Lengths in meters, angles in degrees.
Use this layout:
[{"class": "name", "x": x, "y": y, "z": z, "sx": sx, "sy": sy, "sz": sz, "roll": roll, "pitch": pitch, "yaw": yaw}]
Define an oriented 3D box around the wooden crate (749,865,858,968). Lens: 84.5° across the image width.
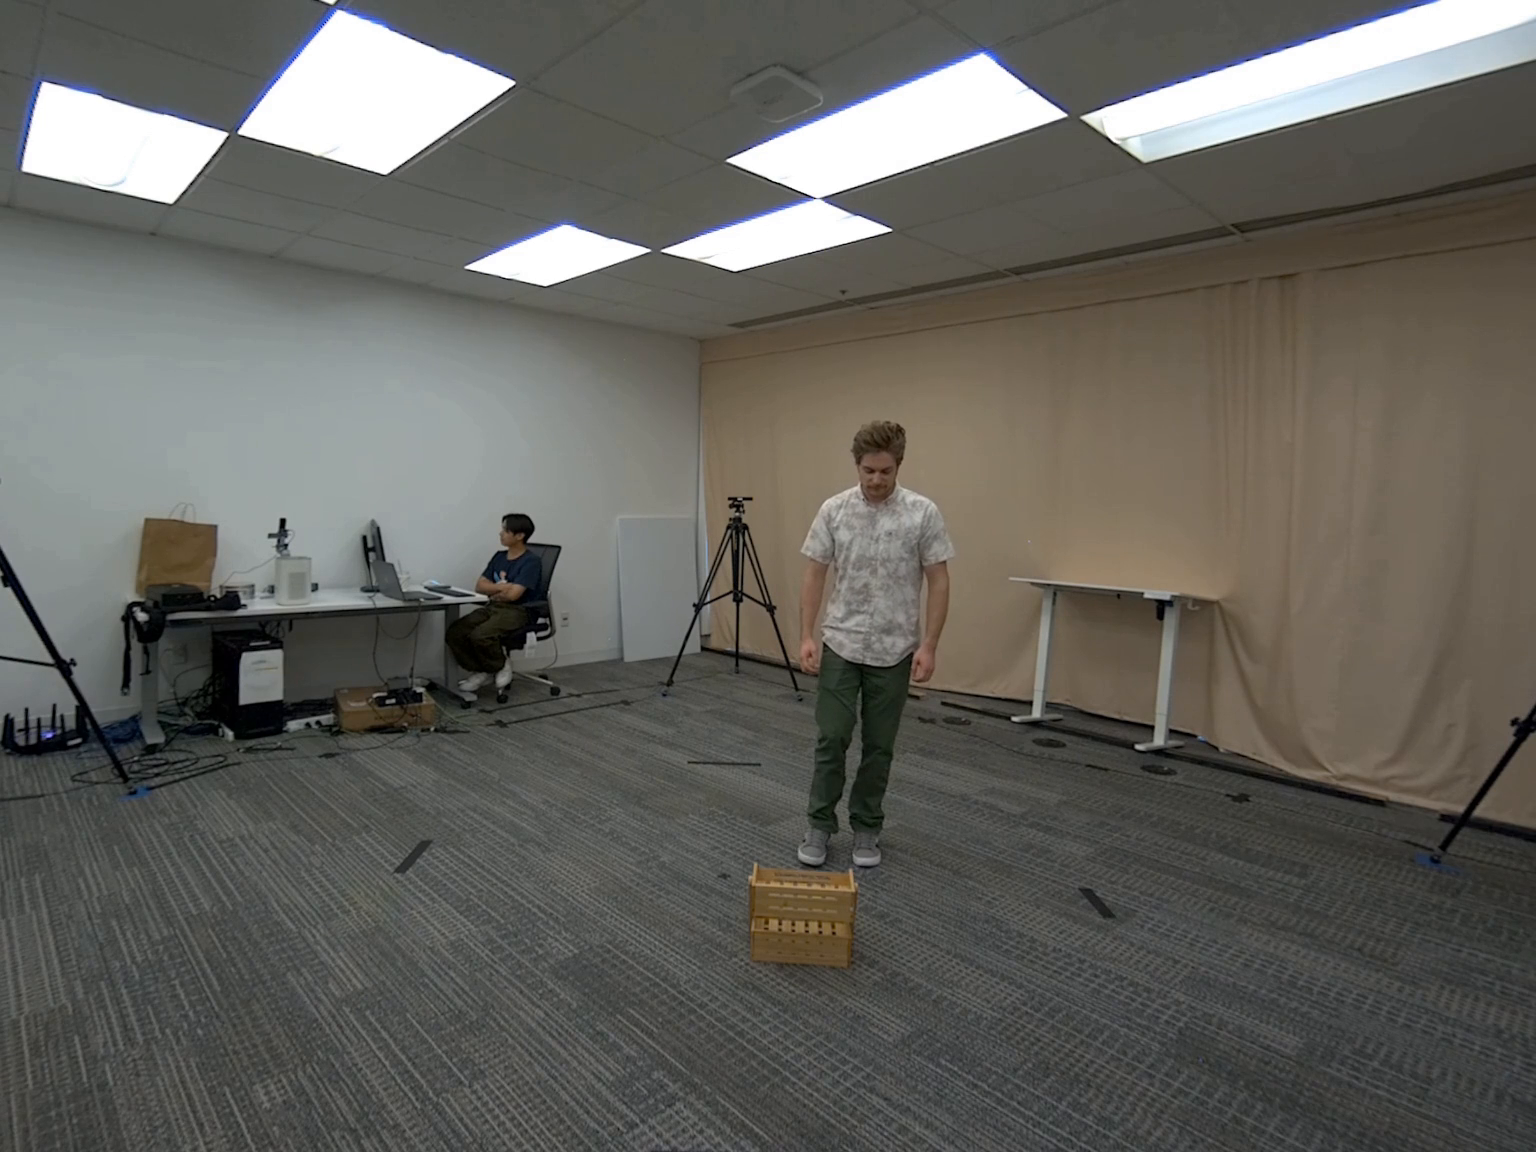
[{"class": "wooden crate", "x": 0.102, "y": 1.021, "z": 2.620, "sx": 0.325, "sy": 0.272, "sz": 0.302, "roll": 2, "pitch": 5, "yaw": 3}]
